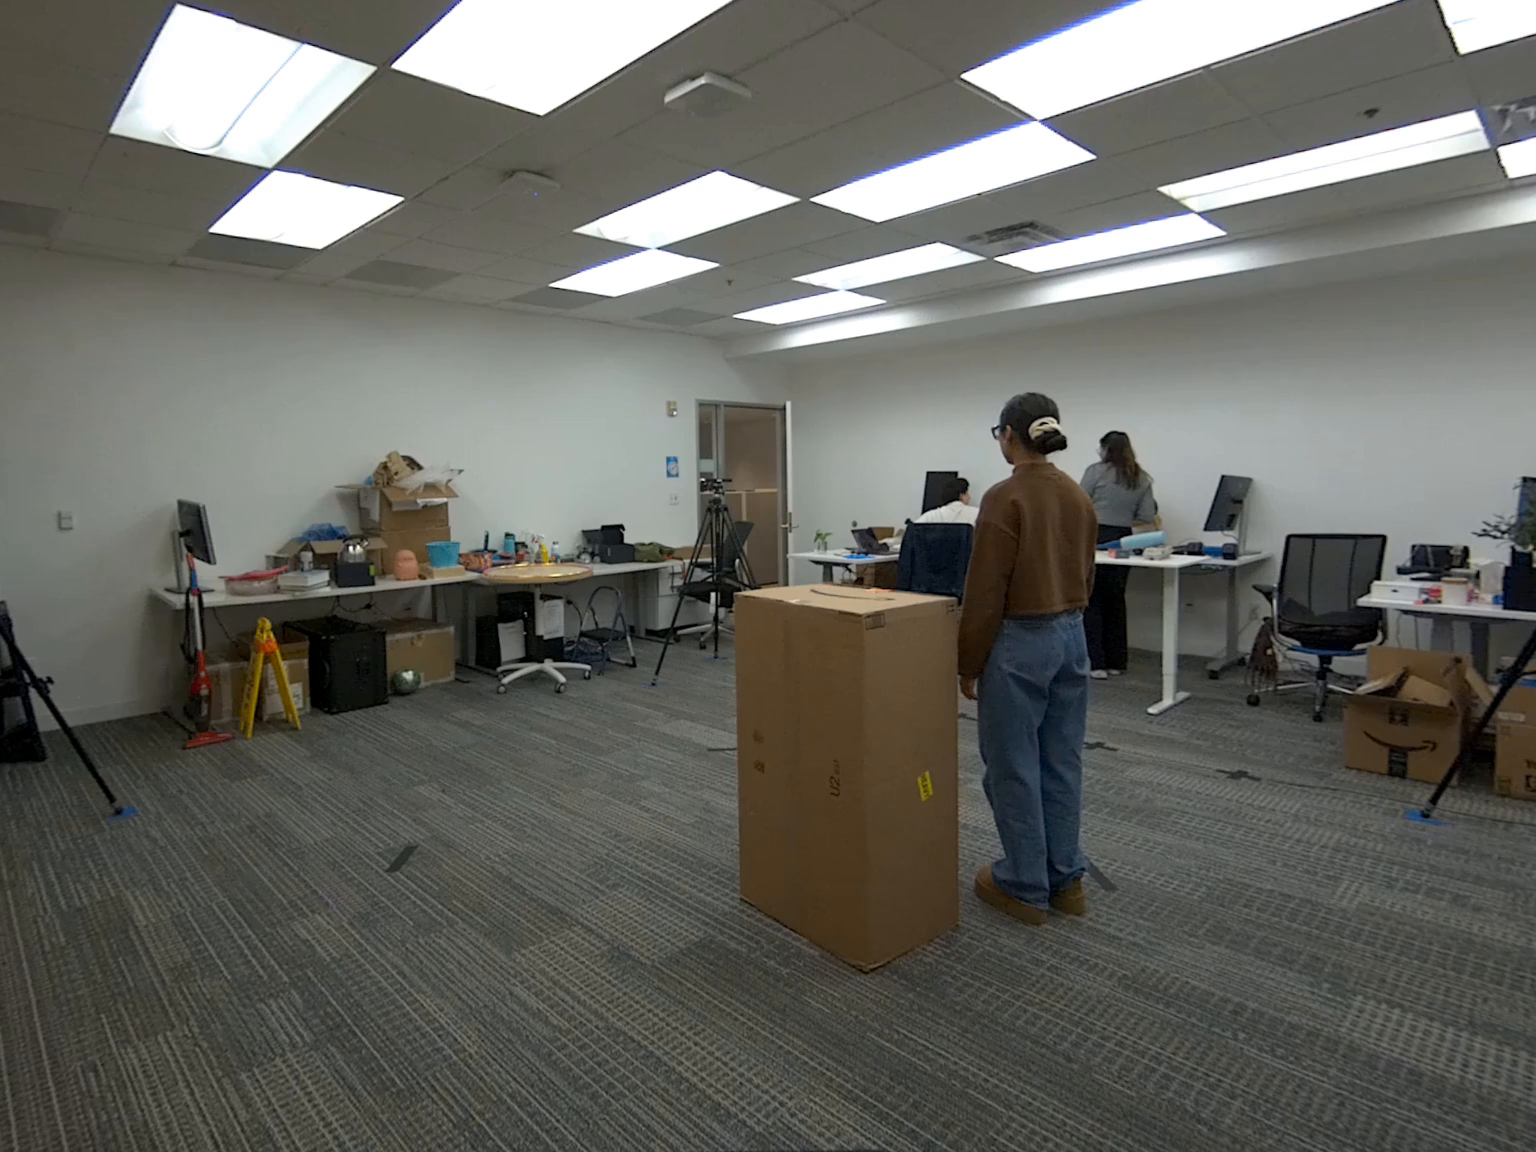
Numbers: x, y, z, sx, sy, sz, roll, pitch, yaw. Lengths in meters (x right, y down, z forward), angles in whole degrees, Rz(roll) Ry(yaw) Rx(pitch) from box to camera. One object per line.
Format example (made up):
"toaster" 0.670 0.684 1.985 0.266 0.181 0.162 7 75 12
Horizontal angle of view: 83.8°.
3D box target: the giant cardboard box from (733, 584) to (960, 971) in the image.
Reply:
"giant cardboard box" 0.248 0.573 2.722 0.415 1.022 0.595 -4 5 -39
